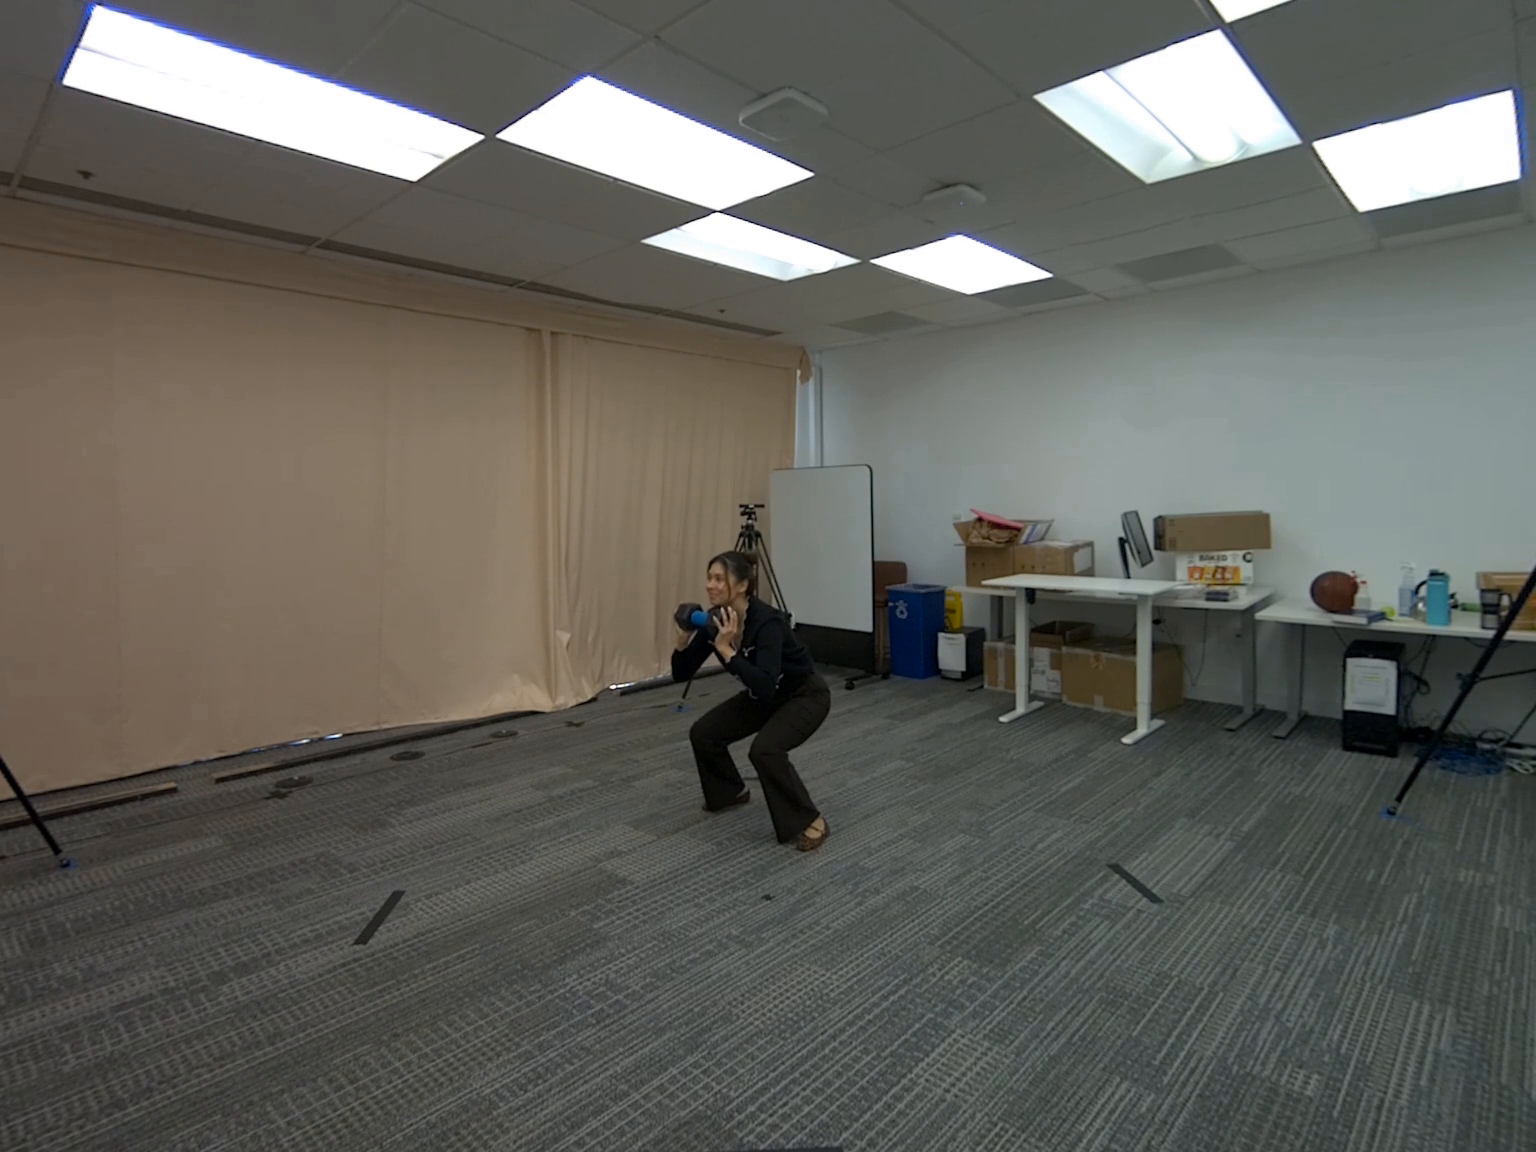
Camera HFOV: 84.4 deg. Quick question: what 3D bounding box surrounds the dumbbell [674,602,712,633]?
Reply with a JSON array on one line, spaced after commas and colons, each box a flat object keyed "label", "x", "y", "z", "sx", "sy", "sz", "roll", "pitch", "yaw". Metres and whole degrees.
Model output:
[{"label": "dumbbell", "x": -0.252, "y": 0.174, "z": 3.475, "sx": 0.105, "sy": 0.123, "sz": 0.303, "roll": 36, "pitch": -17, "yaw": -35}]
